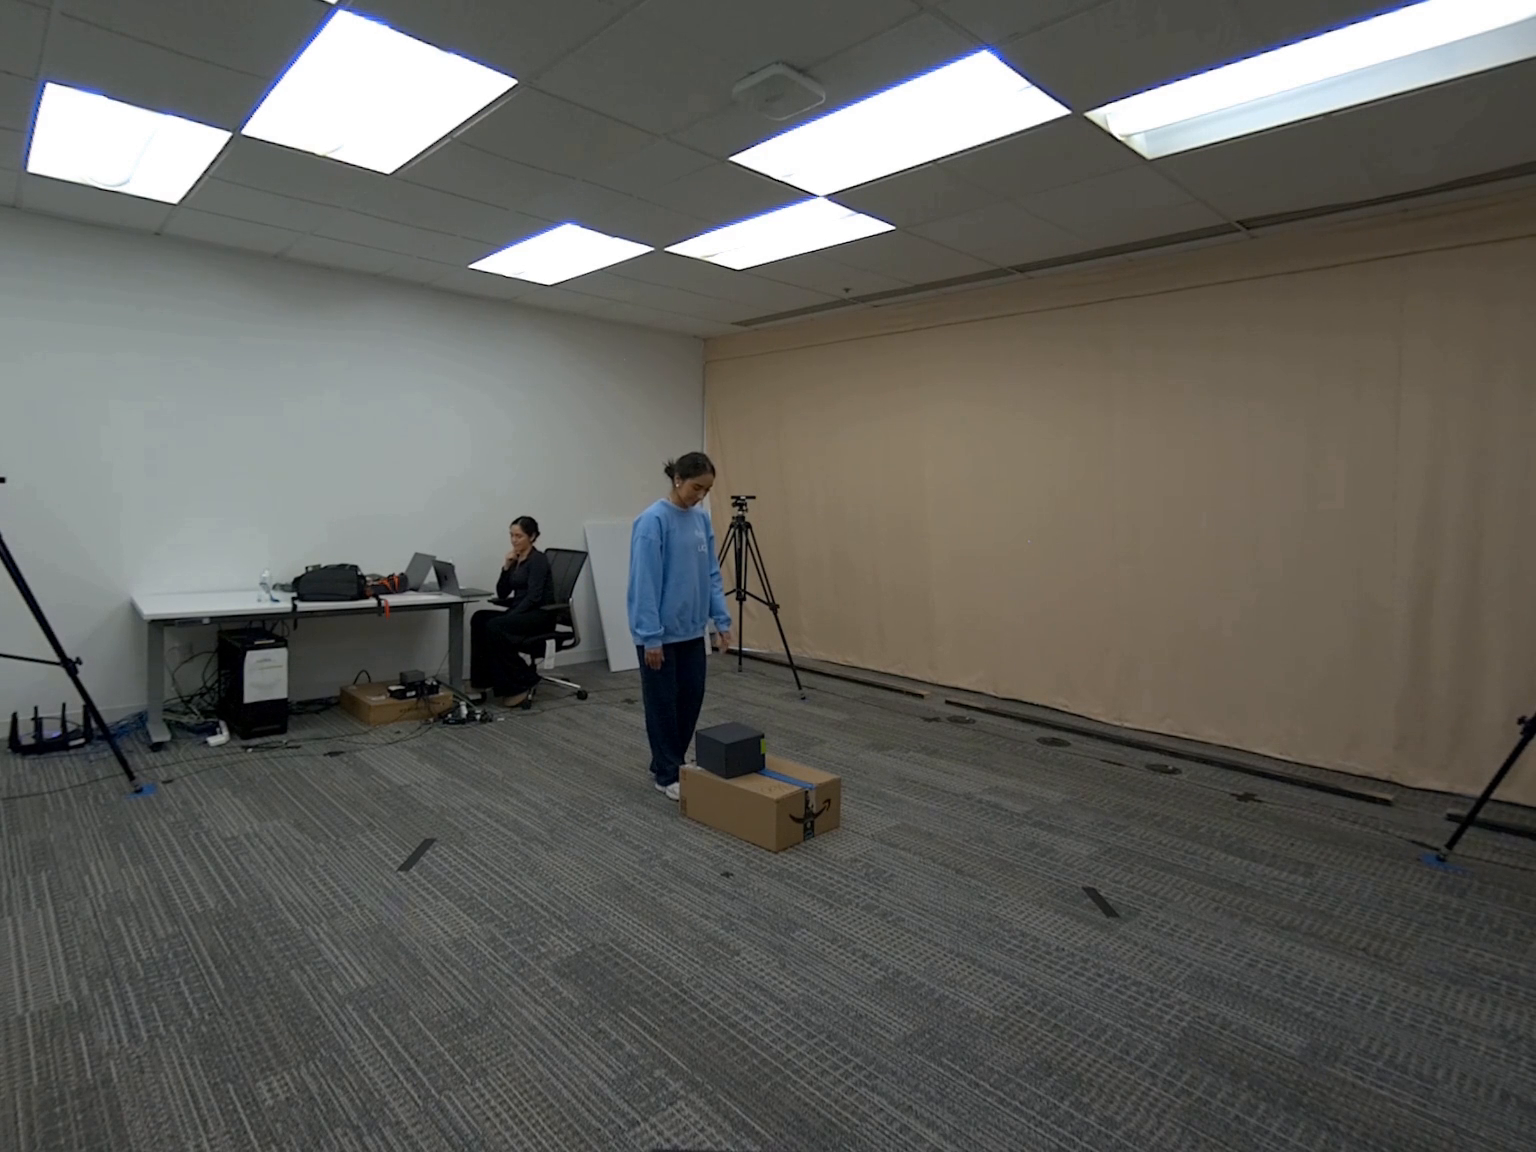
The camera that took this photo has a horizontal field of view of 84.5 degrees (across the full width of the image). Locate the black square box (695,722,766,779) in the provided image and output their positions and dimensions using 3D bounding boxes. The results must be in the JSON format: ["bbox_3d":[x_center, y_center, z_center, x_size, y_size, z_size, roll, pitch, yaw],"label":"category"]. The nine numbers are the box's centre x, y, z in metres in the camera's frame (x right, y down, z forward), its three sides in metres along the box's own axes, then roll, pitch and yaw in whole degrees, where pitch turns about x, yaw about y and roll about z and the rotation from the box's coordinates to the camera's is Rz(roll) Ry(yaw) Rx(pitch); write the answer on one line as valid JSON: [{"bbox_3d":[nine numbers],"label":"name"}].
[{"bbox_3d":[-0.171,0.751,3.654,0.212,0.155,0.233,-6,8,-38],"label":"black square box"}]
